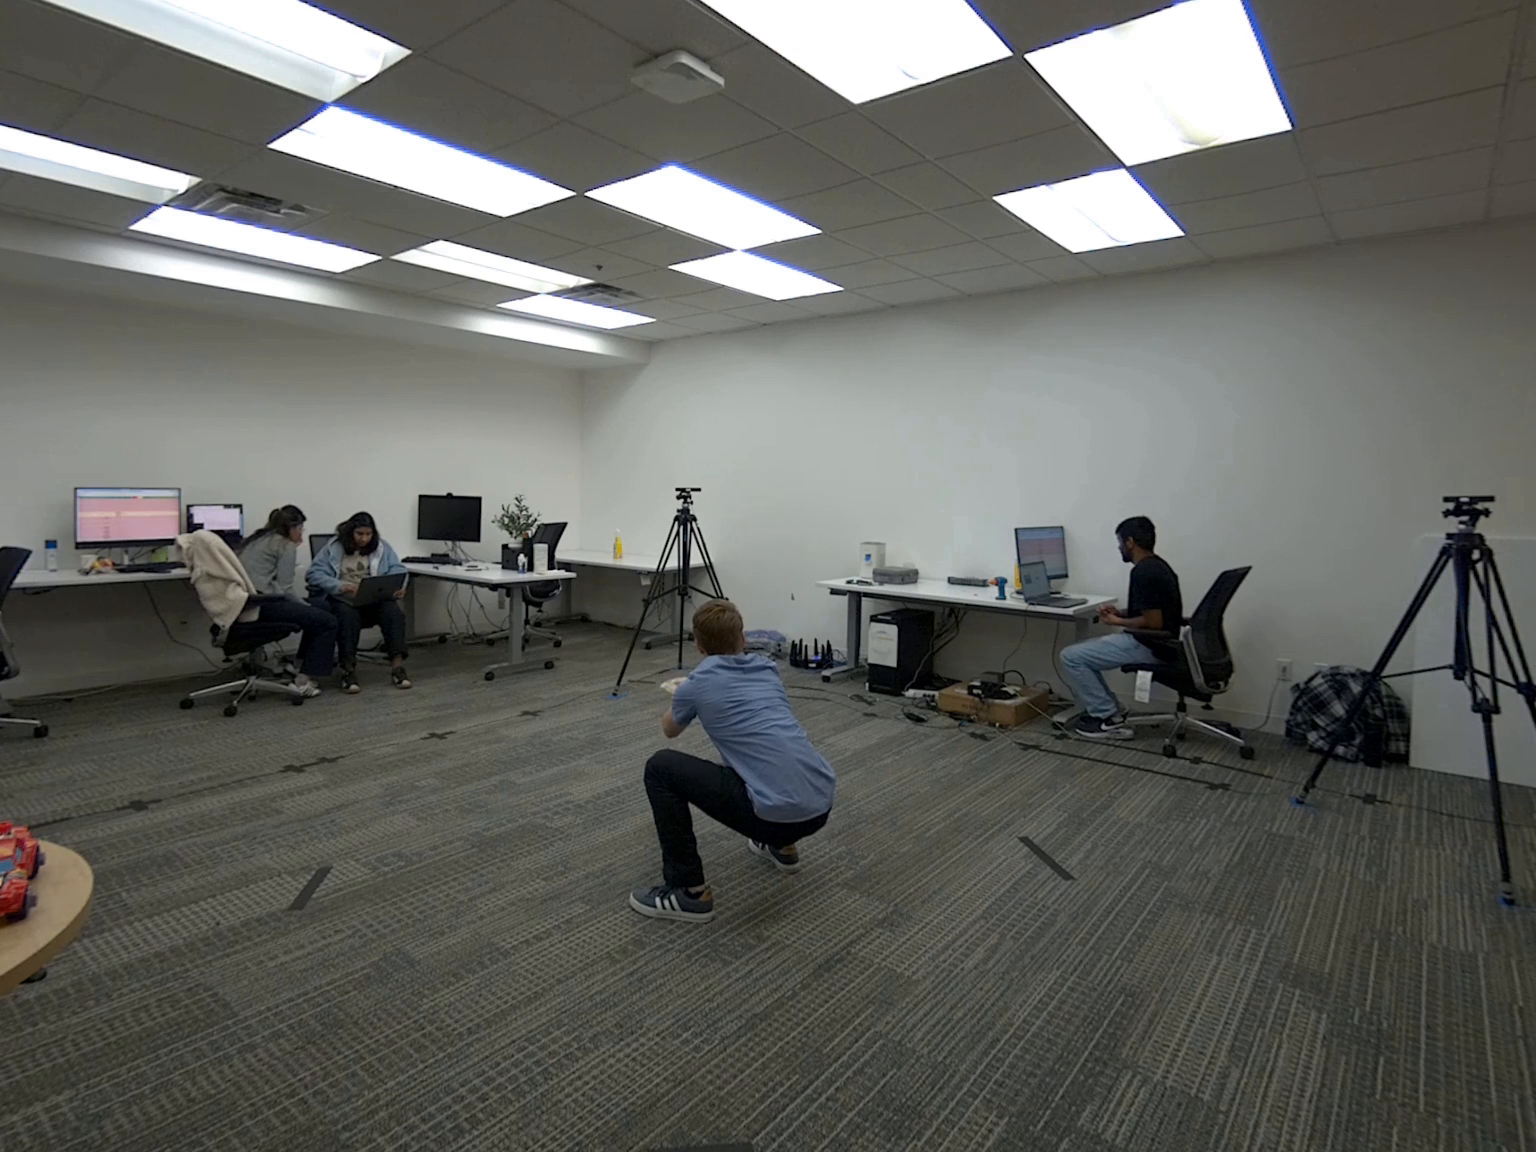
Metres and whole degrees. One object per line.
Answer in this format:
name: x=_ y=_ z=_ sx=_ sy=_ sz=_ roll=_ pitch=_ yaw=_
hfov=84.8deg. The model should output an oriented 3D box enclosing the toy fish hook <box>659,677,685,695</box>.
toy fish hook: x=-0.238 y=0.458 z=3.658 sx=0.492 sy=0.048 sz=0.234 roll=-3 pitch=17 yaw=-37
